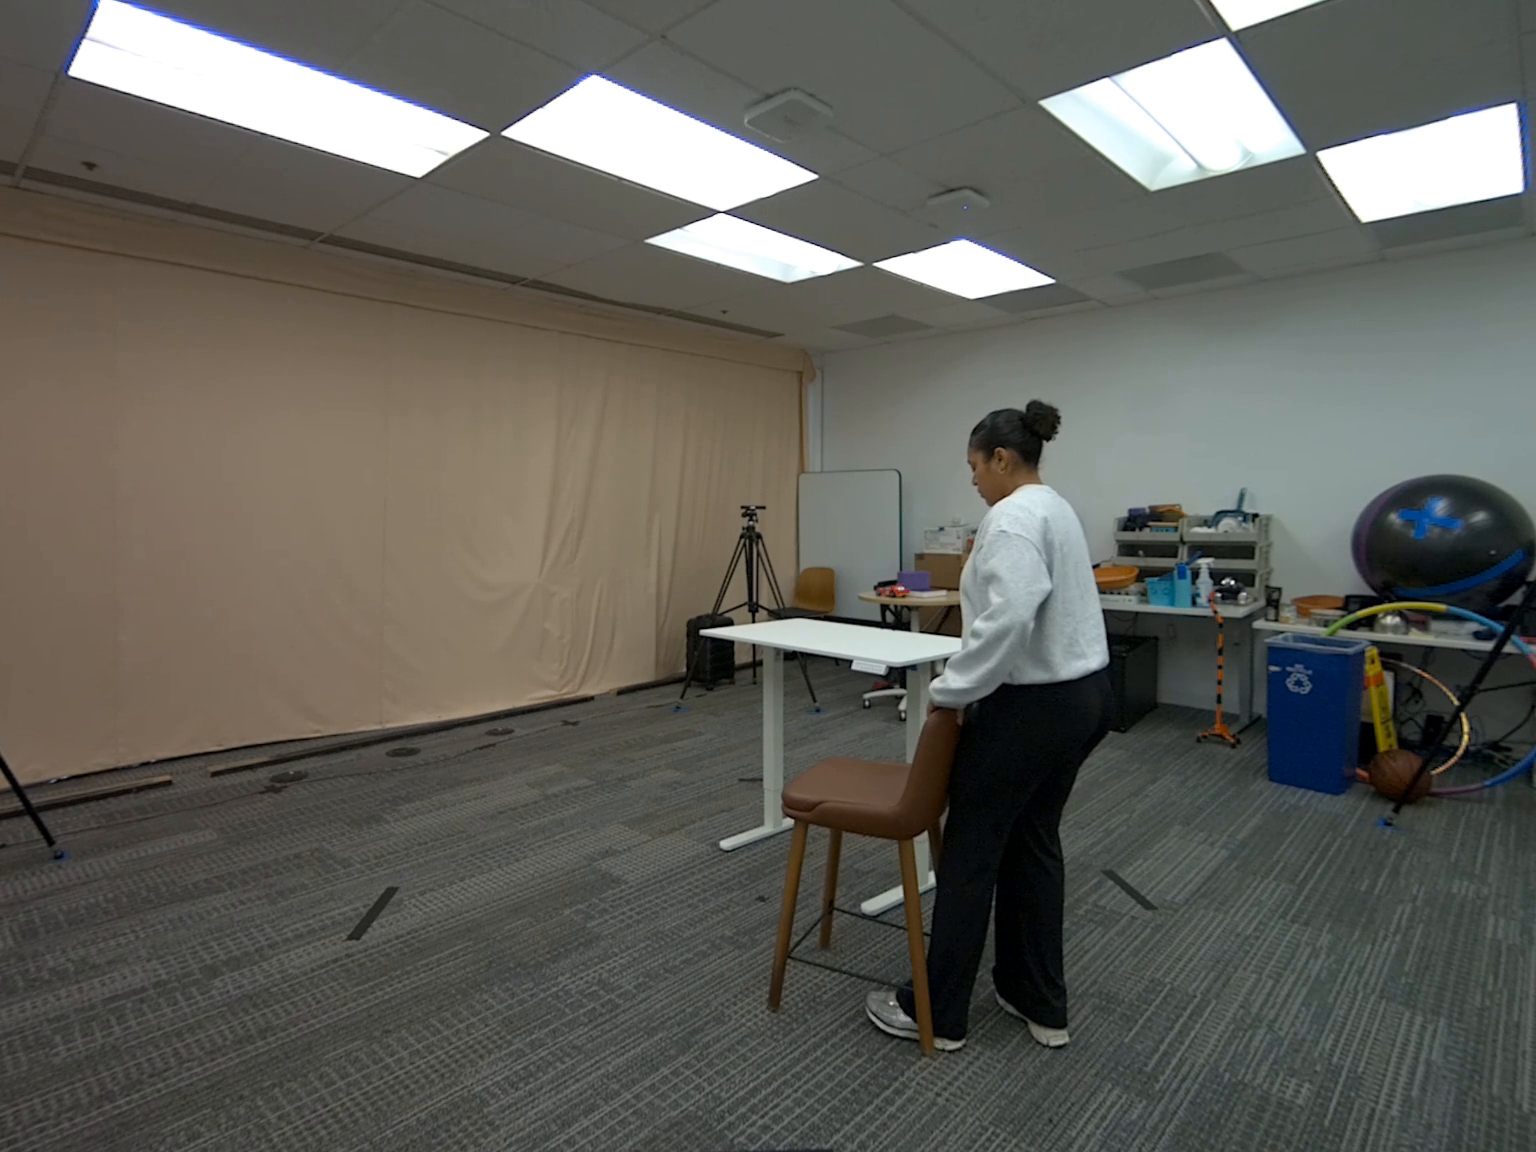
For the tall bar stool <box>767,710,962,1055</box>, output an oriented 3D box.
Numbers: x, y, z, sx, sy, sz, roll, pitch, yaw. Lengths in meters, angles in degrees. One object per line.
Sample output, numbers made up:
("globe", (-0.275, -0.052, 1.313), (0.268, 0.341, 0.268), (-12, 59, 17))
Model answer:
("tall bar stool", (0.302, 0.754, 2.373), (0.481, 0.887, 0.445), (5, 5, 28))
